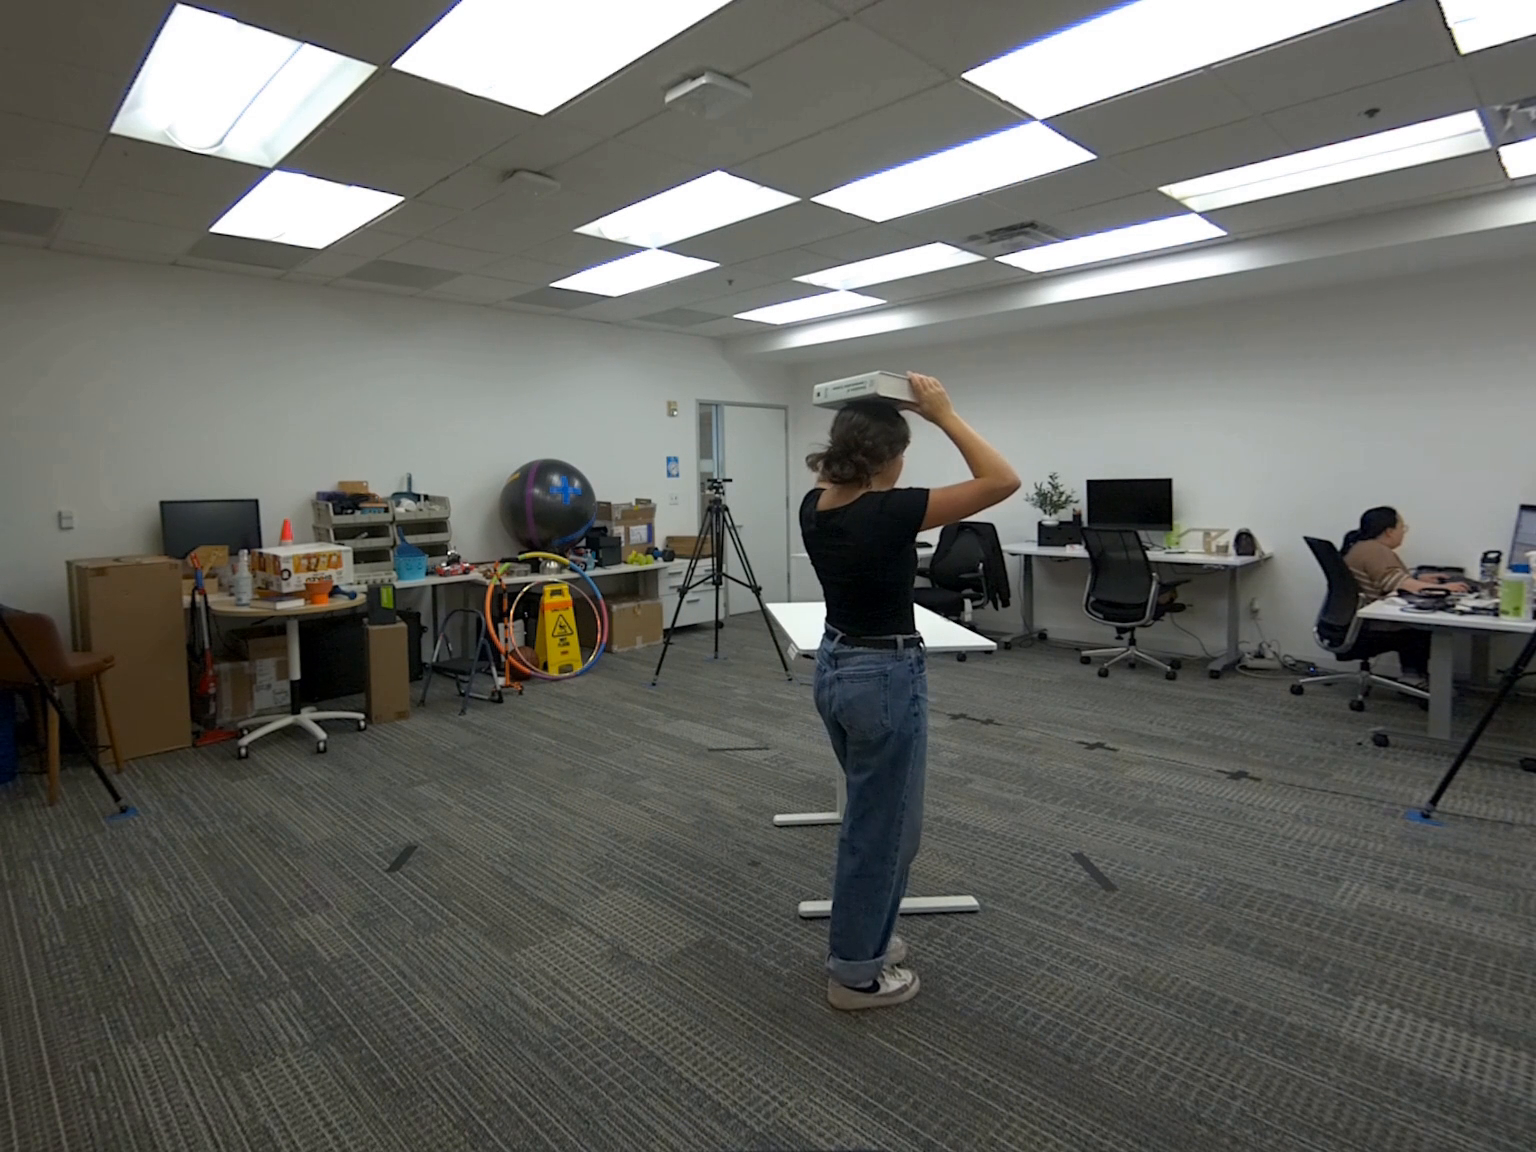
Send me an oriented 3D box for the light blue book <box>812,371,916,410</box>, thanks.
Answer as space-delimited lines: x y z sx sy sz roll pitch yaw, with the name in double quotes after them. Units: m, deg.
0.274 -0.473 2.207 0.186 0.059 0.269 1 3 -35 "light blue book"
